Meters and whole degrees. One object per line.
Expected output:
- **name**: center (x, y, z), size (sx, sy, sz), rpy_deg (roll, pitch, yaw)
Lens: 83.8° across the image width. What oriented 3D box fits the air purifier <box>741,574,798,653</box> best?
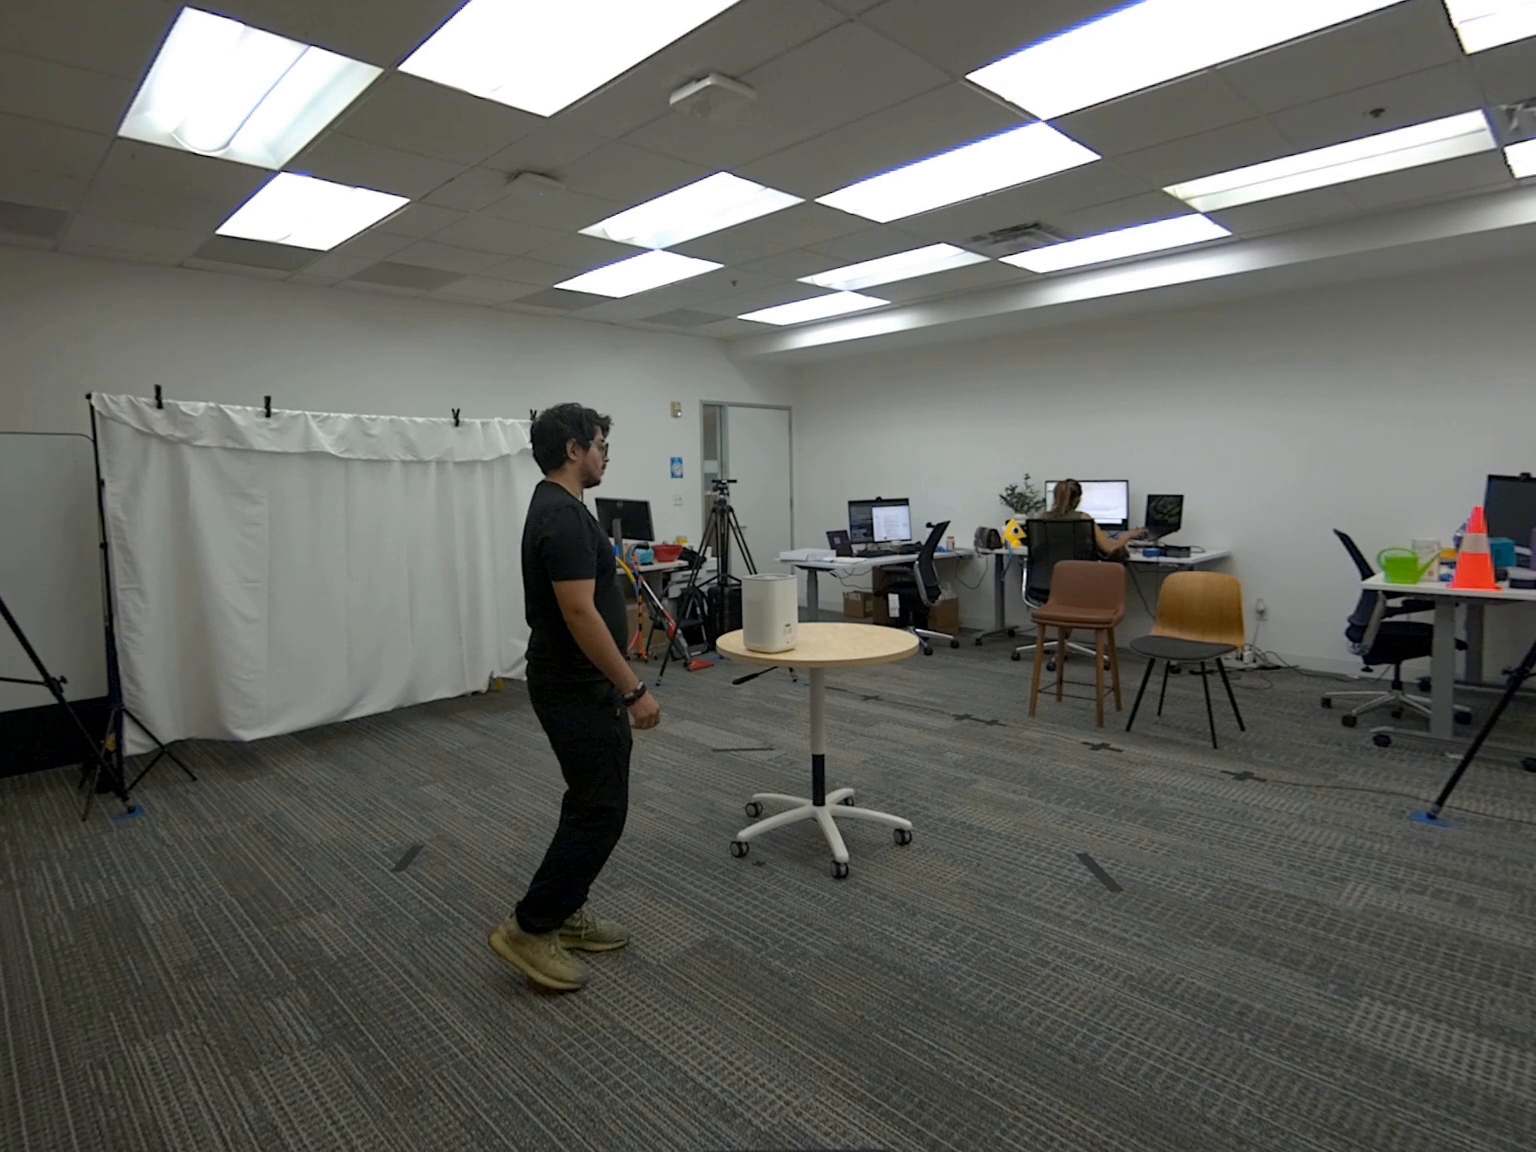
- **air purifier**: center (0.013, 0.131, 3.084), size (0.166, 0.264, 0.177), rpy_deg (-6, 6, -44)
